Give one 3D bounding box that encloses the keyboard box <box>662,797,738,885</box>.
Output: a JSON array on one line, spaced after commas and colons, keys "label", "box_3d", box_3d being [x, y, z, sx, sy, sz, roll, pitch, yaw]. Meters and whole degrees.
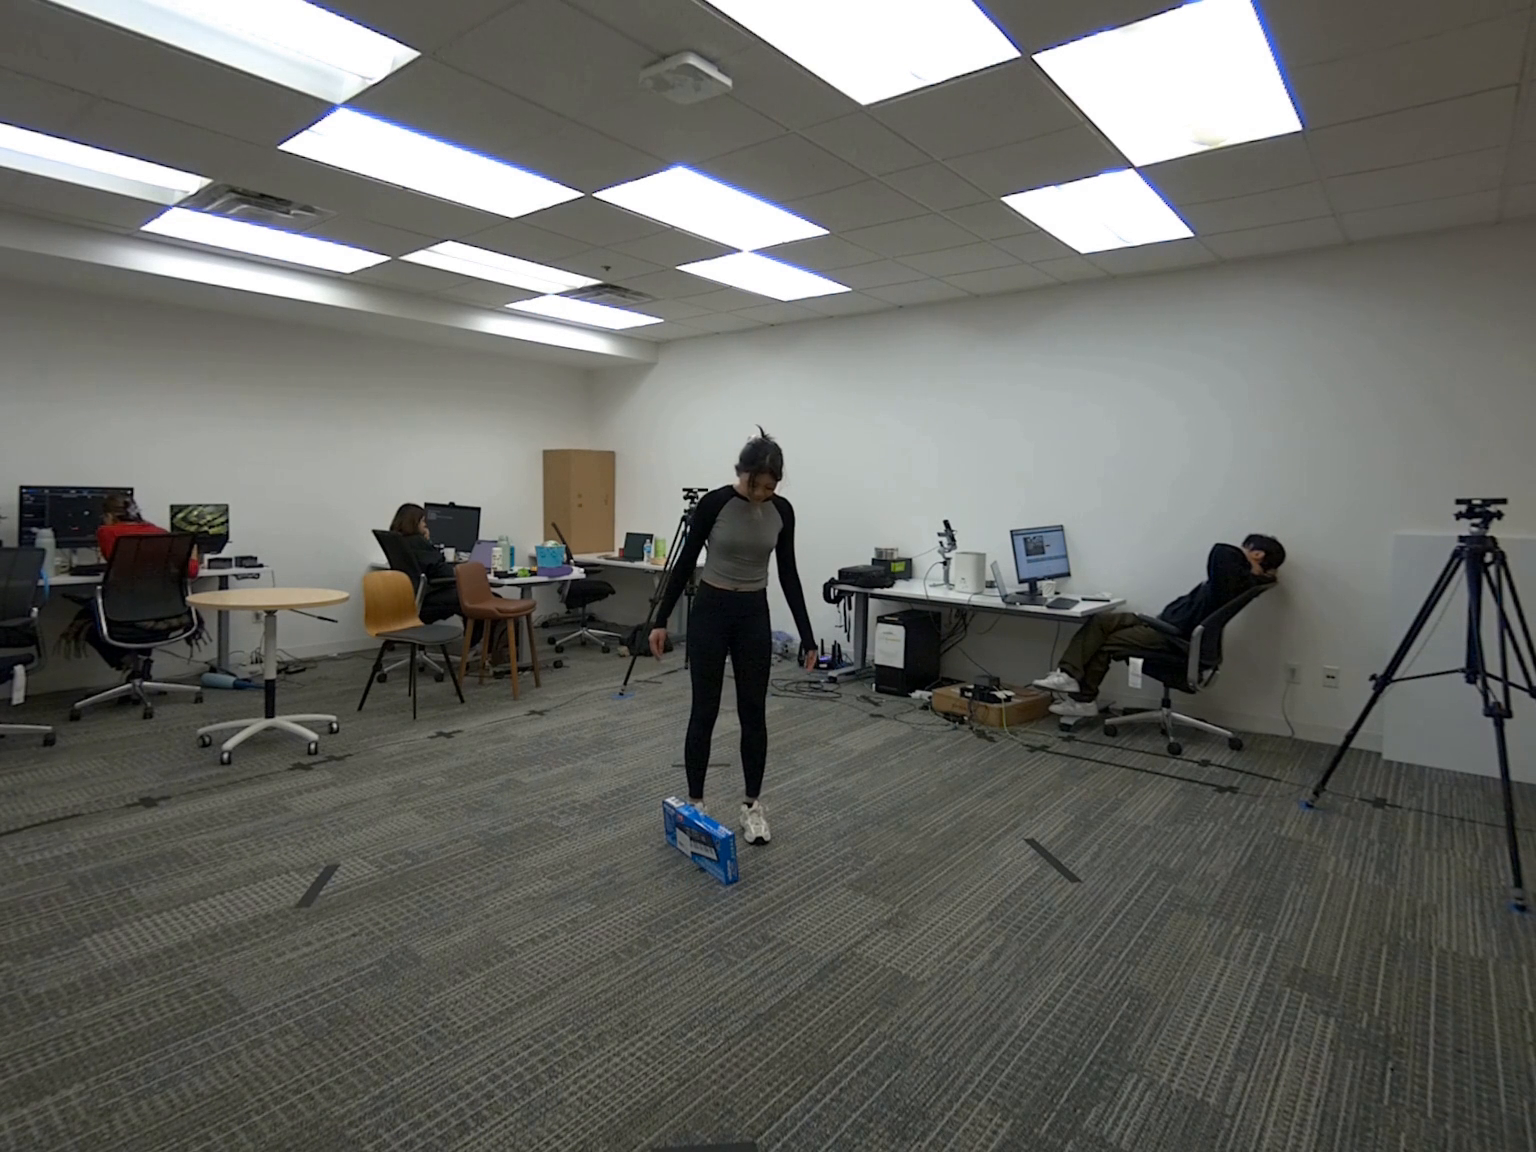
[{"label": "keyboard box", "box_3d": [-0.270, 0.977, 3.176, 0.058, 0.174, 0.451, -9, 10, -34]}]
